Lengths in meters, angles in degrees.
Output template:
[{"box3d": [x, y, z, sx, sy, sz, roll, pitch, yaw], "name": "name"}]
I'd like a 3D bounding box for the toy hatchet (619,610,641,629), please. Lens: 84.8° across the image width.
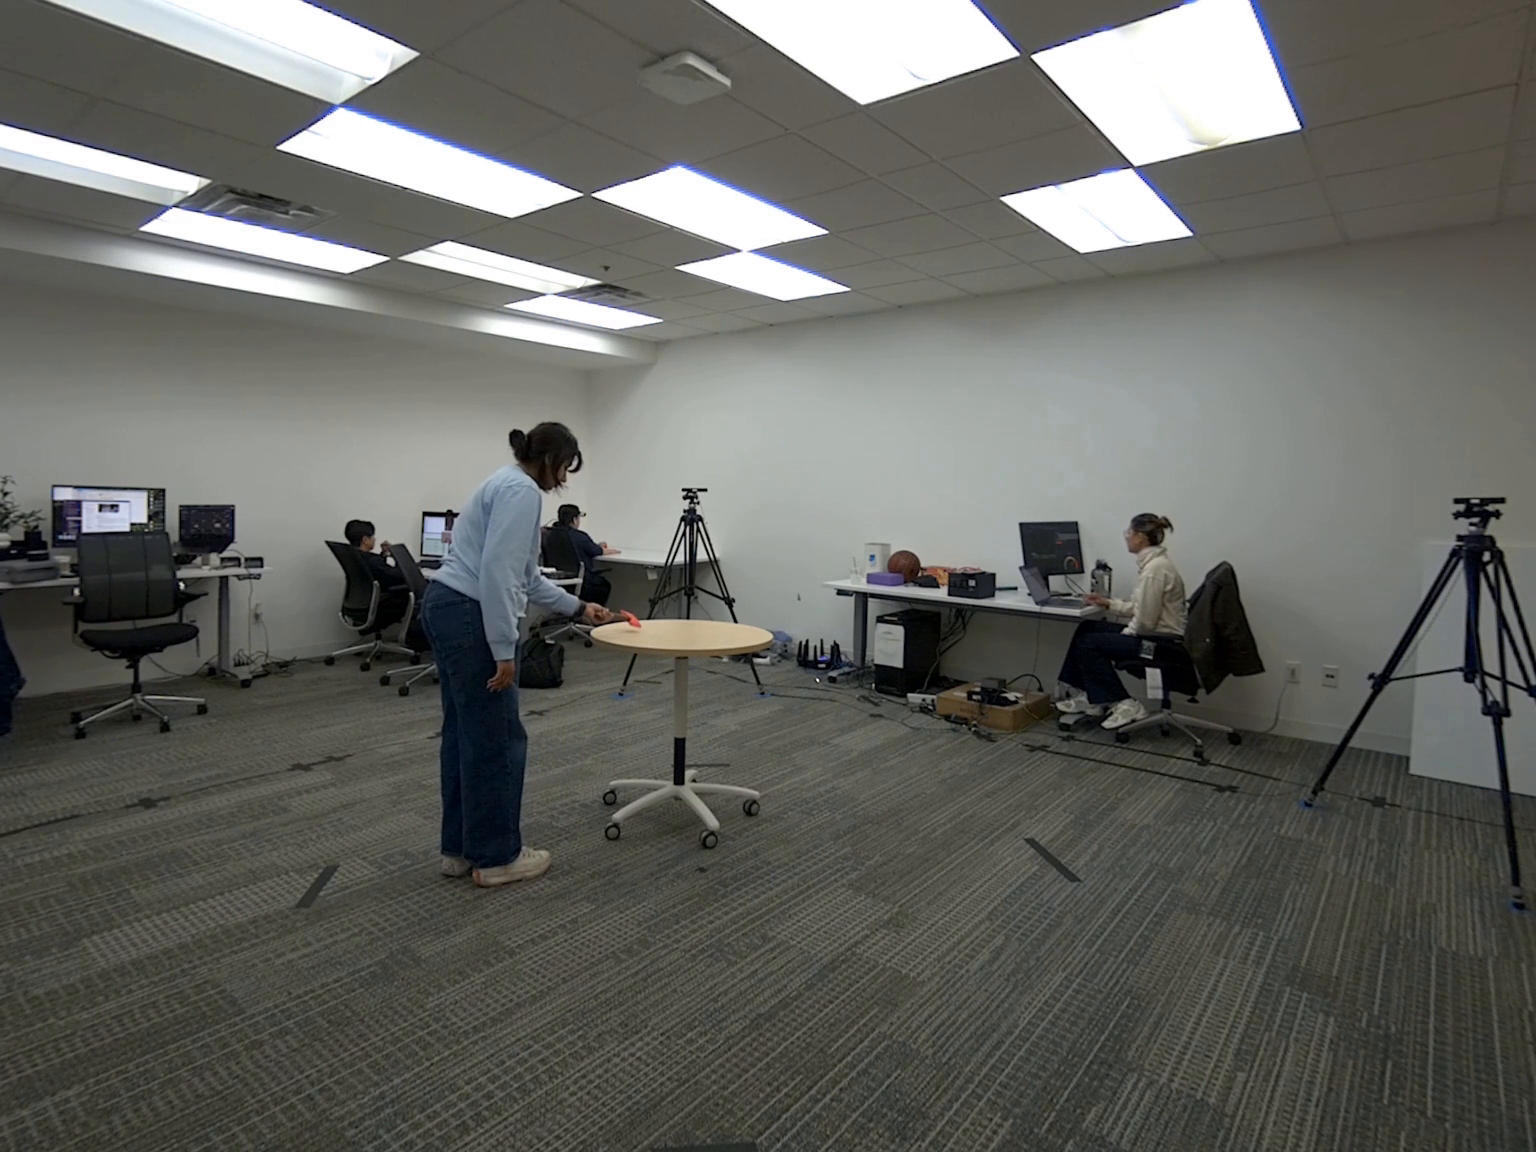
[{"box3d": [-0.630, 0.193, 3.525, 0.134, 0.029, 0.266, 30, 16, 15], "name": "toy hatchet"}]
